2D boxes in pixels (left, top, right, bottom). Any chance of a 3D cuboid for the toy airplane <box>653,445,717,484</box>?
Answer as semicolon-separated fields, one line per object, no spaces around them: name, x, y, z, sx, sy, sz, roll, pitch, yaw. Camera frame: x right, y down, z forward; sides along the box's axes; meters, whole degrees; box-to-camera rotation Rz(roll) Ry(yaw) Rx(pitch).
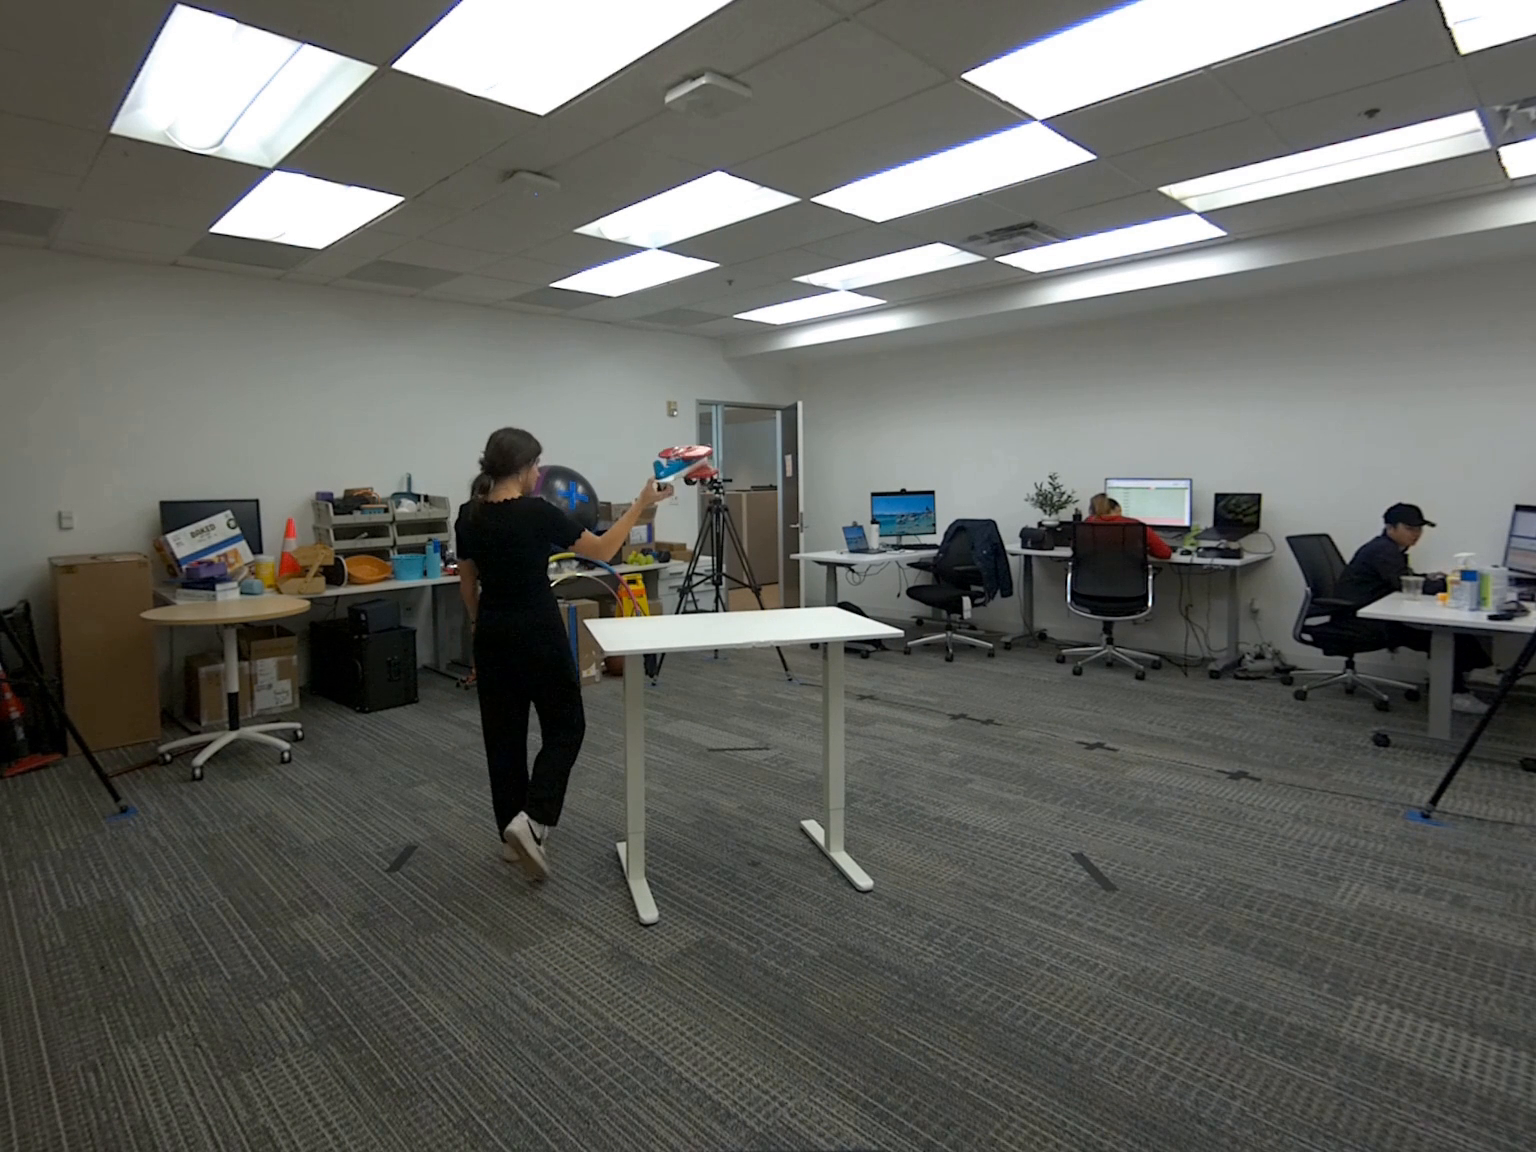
toy airplane;-0.311;-0.395;3.178;0.255;0.154;0.259;-1;14;14
